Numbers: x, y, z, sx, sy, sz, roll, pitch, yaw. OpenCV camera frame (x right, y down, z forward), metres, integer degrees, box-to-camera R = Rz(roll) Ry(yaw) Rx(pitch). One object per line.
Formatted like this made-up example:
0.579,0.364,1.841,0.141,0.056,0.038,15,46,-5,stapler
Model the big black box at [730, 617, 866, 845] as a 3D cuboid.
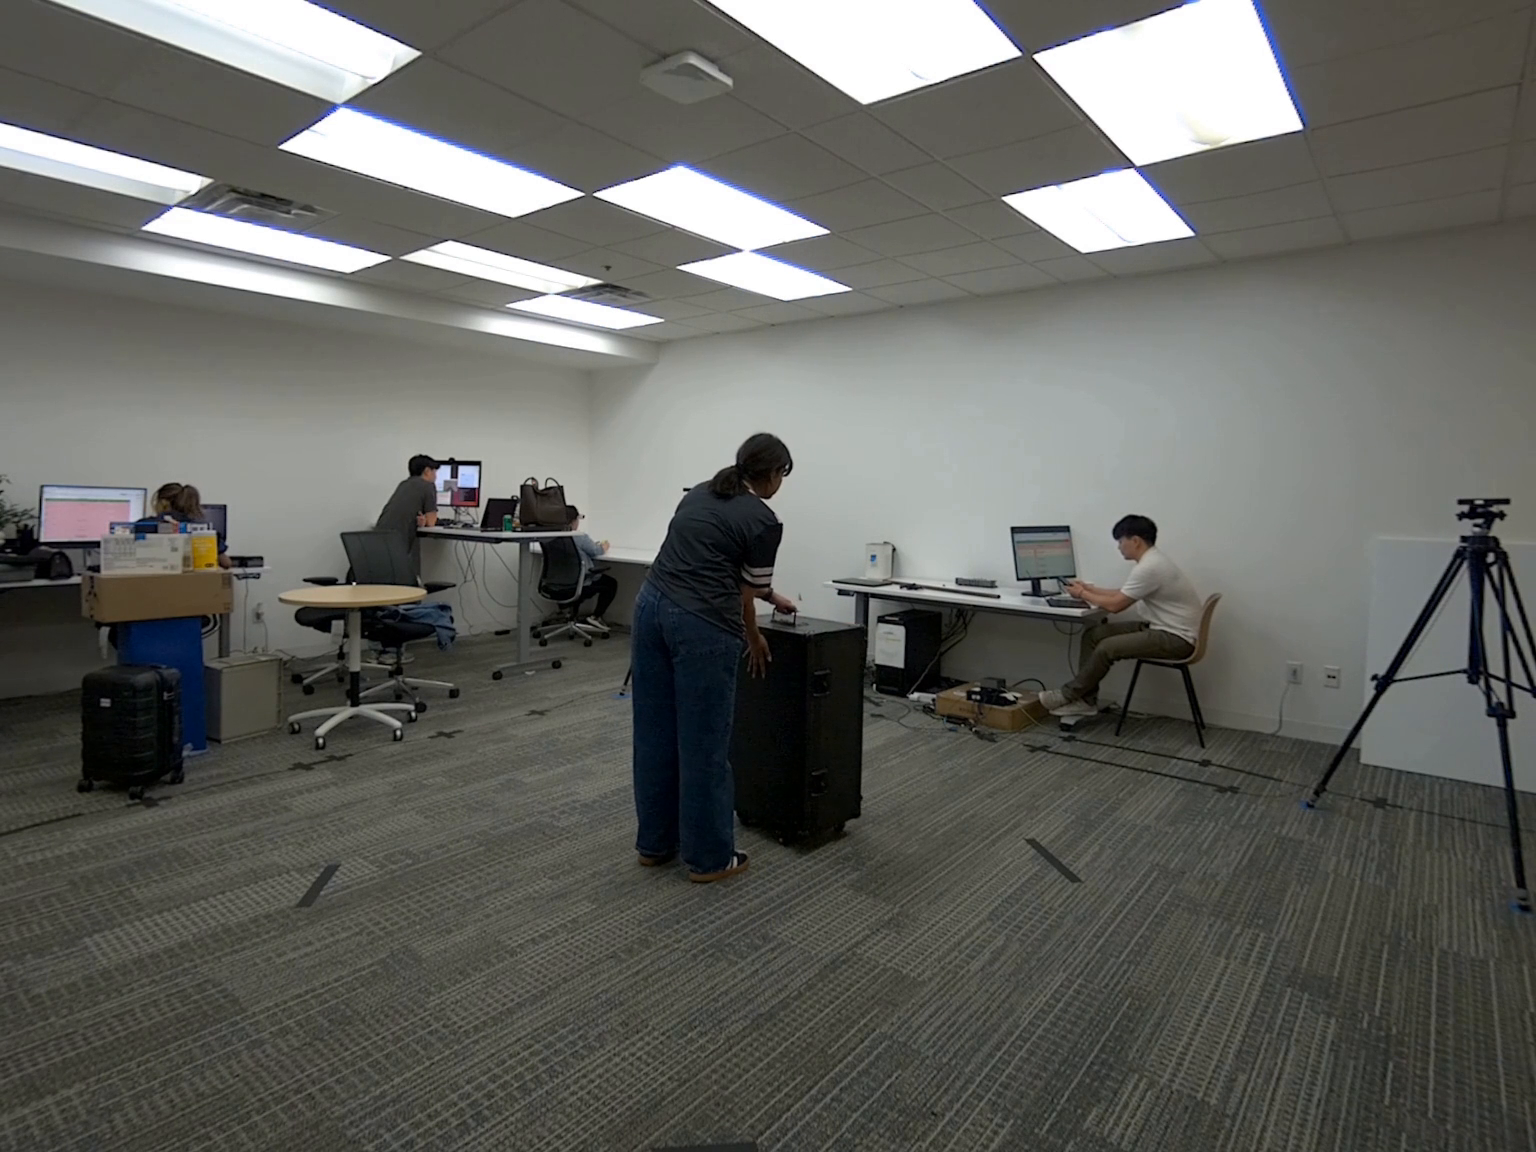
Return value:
0.082,0.617,3.509,0.373,0.866,0.541,-3,5,-44,big black box
